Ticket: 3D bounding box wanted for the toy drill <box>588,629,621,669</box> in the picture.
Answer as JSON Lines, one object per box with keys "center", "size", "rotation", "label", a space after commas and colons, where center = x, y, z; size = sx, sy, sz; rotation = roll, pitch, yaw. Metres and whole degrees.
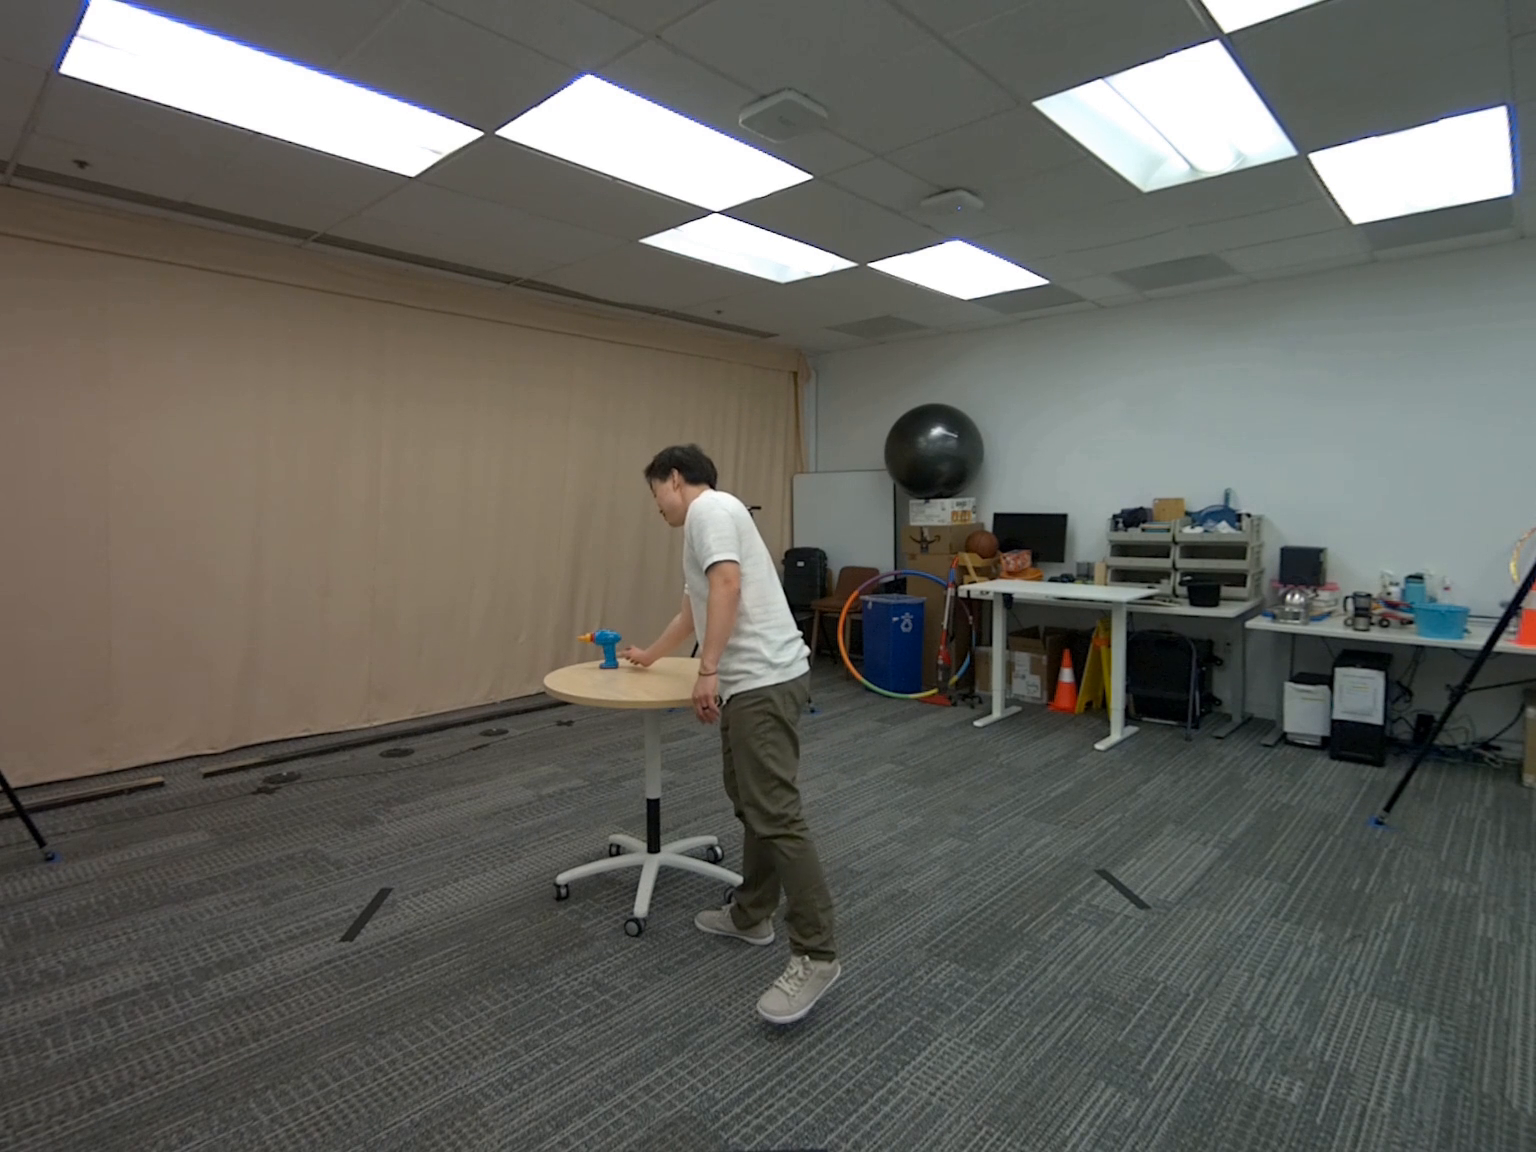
{"center": [-0.632, 0.273, 3.177], "size": [0.170, 0.145, 0.061], "rotation": [-1, 5, 0], "label": "toy drill"}
